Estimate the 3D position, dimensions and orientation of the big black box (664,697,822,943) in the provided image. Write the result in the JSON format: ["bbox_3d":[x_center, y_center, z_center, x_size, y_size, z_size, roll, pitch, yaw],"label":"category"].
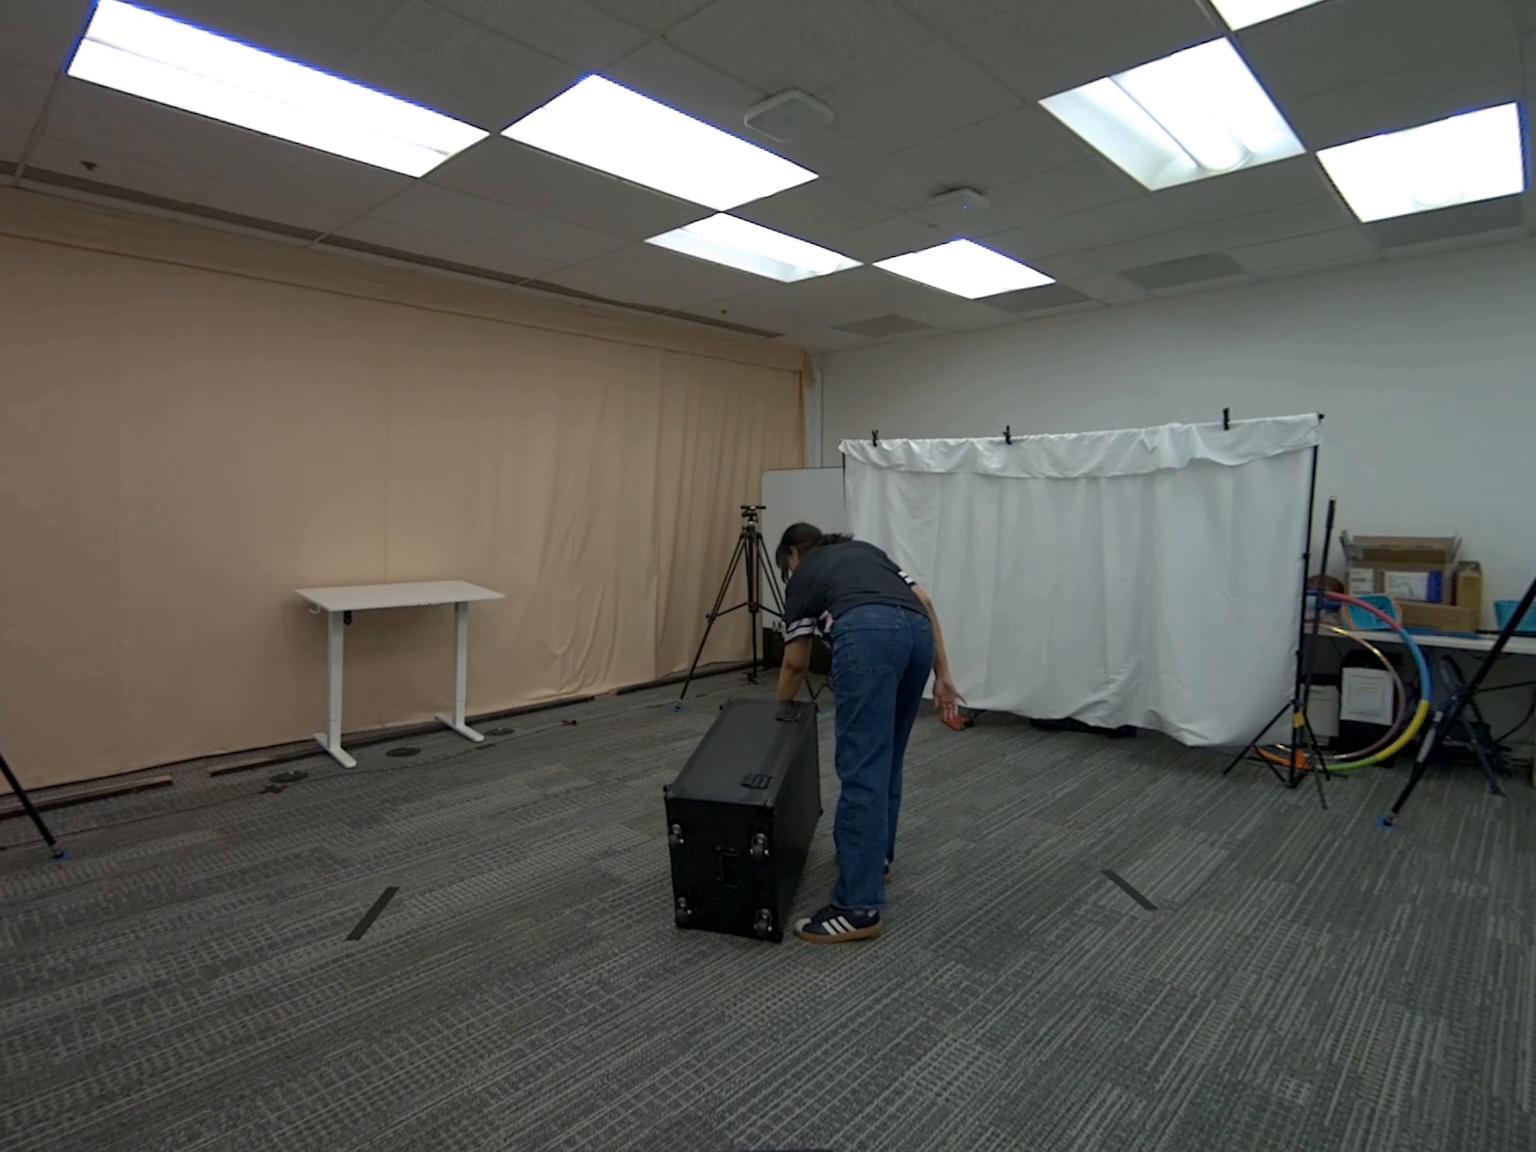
[{"bbox_3d":[-0.071,0.832,3.002,0.392,0.518,0.862,2,15,14],"label":"big black box"}]
